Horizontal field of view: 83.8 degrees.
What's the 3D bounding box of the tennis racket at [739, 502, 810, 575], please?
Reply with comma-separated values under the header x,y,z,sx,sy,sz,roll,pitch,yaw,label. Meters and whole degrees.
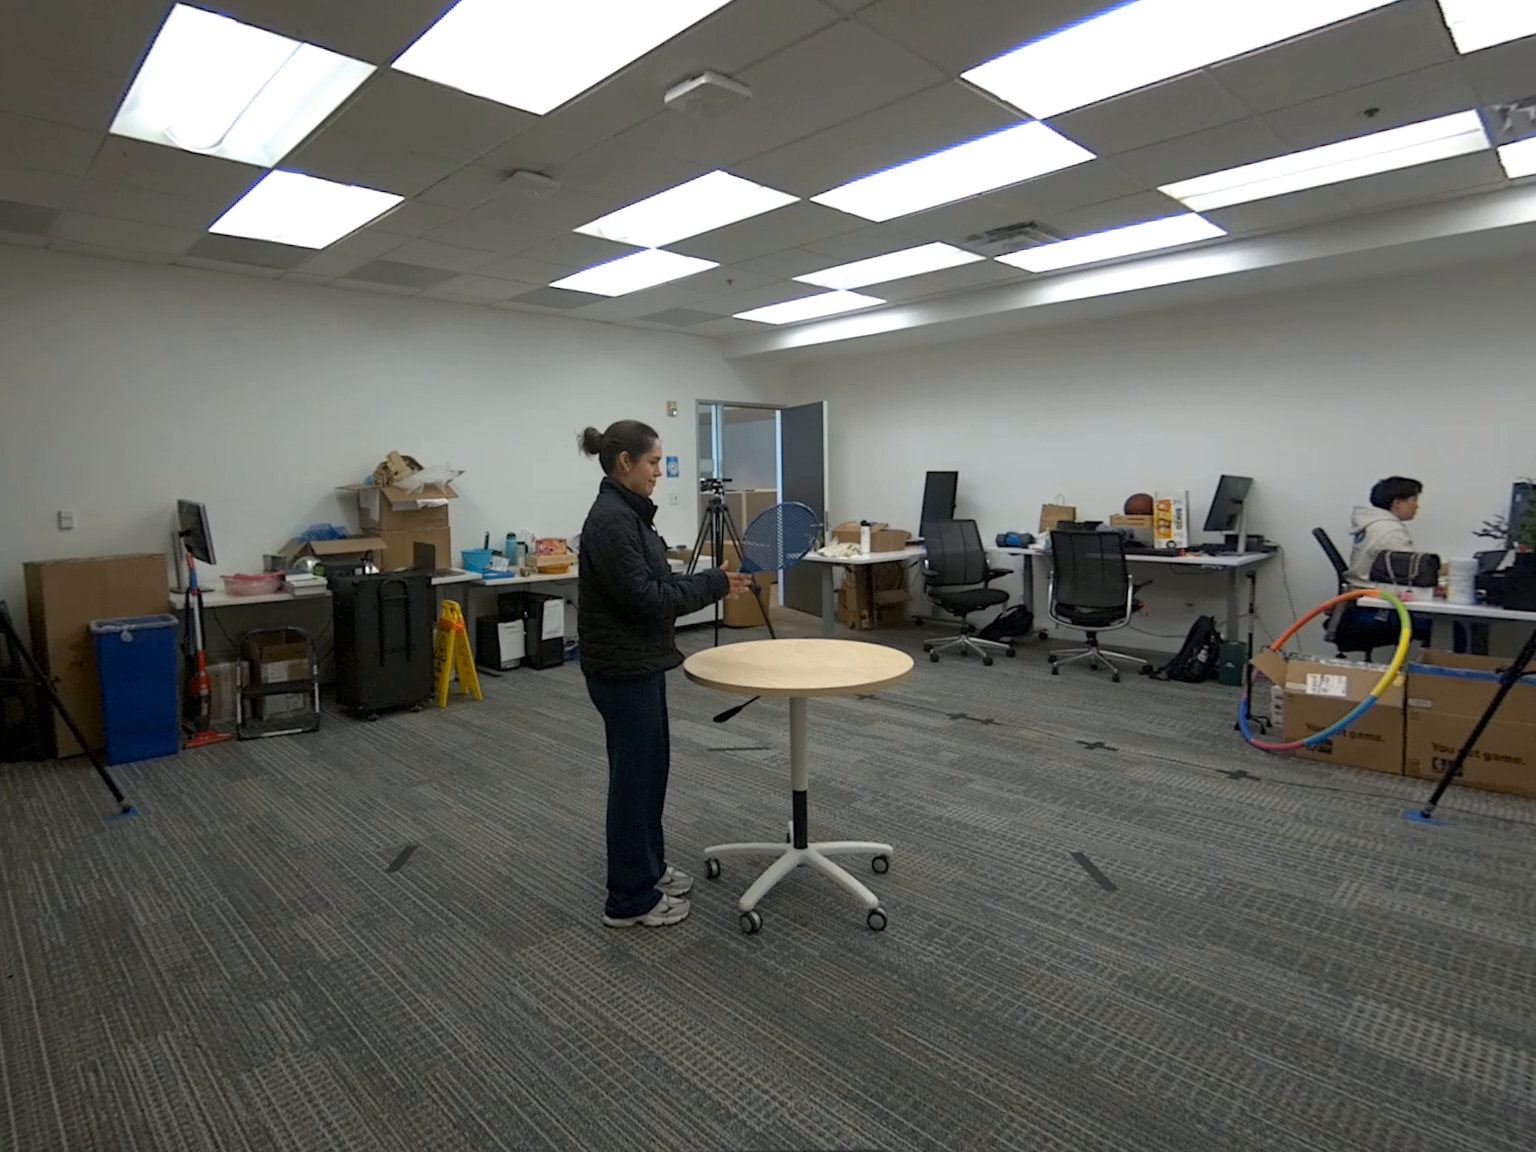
x,y,z,sx,sy,sz,roll,pitch,yaw,label
-0.008,-0.022,2.741,0.031,0.440,0.214,-9,-15,-23,tennis racket
